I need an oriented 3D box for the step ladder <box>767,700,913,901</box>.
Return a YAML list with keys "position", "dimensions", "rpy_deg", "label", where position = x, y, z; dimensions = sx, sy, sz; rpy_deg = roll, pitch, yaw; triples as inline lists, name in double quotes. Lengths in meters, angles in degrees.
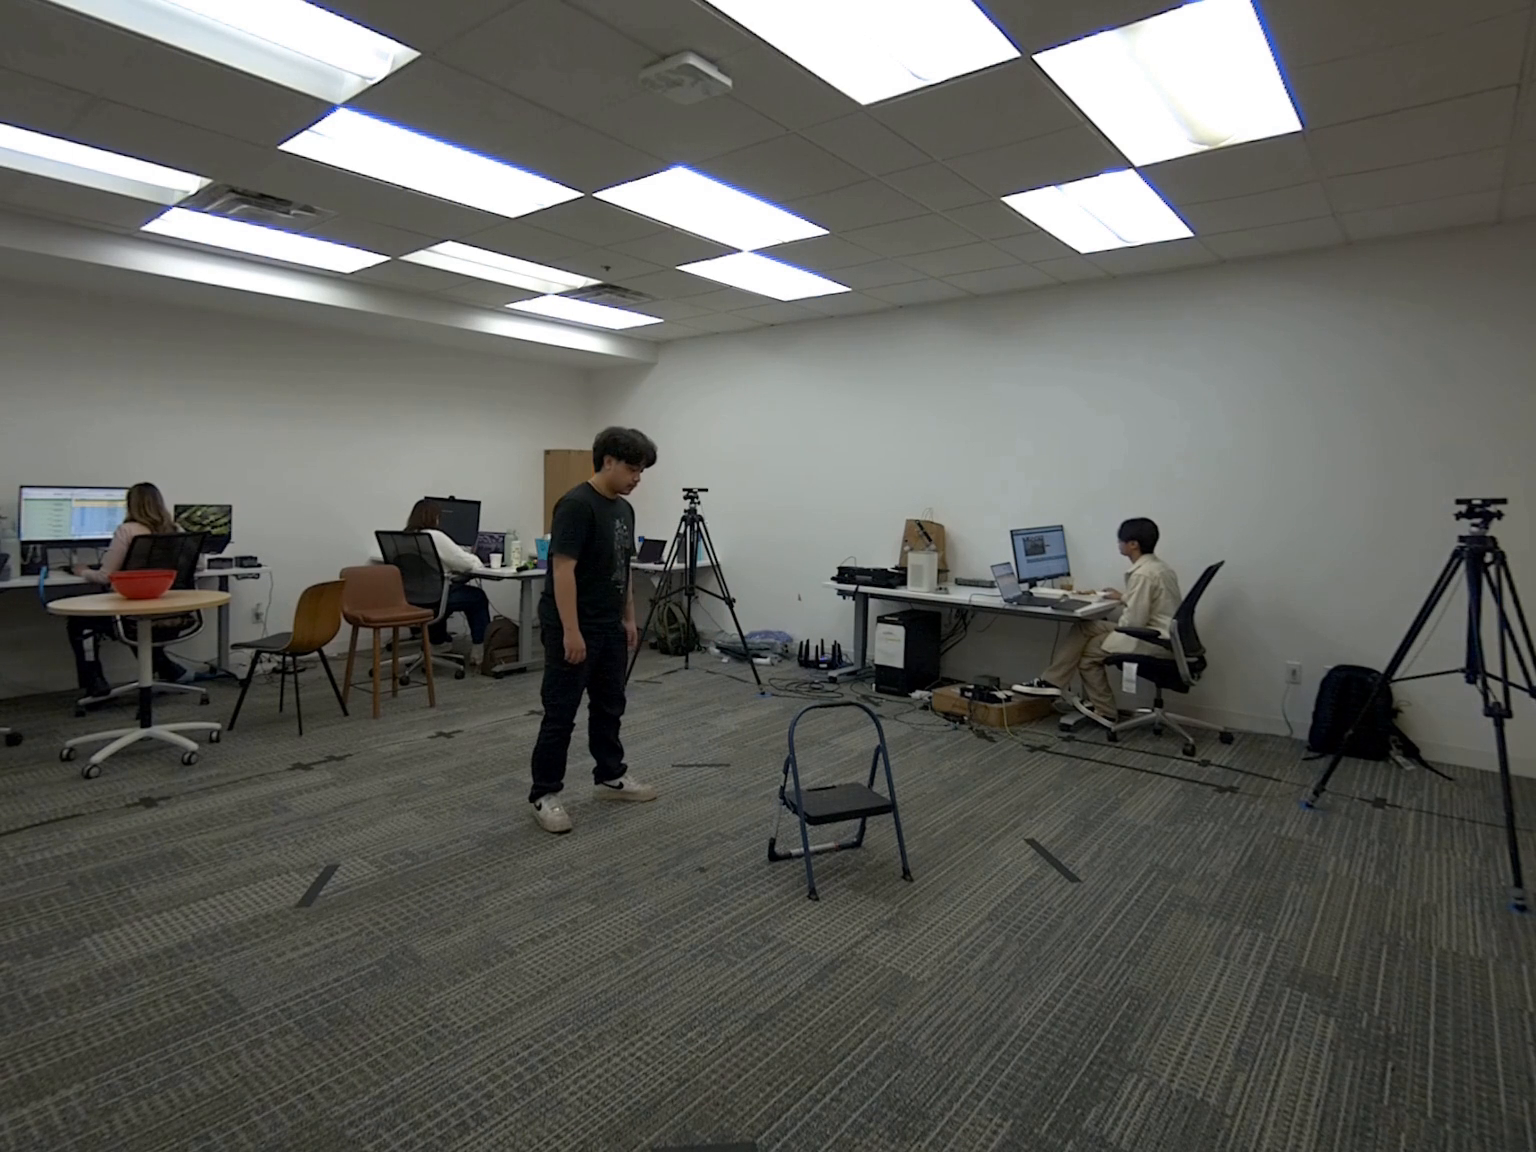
- position: [0.257, 0.775, 3.117]
  dimensions: [0.420, 0.604, 0.359]
  rpy_deg: [0, 4, -27]
  label: "step ladder"
